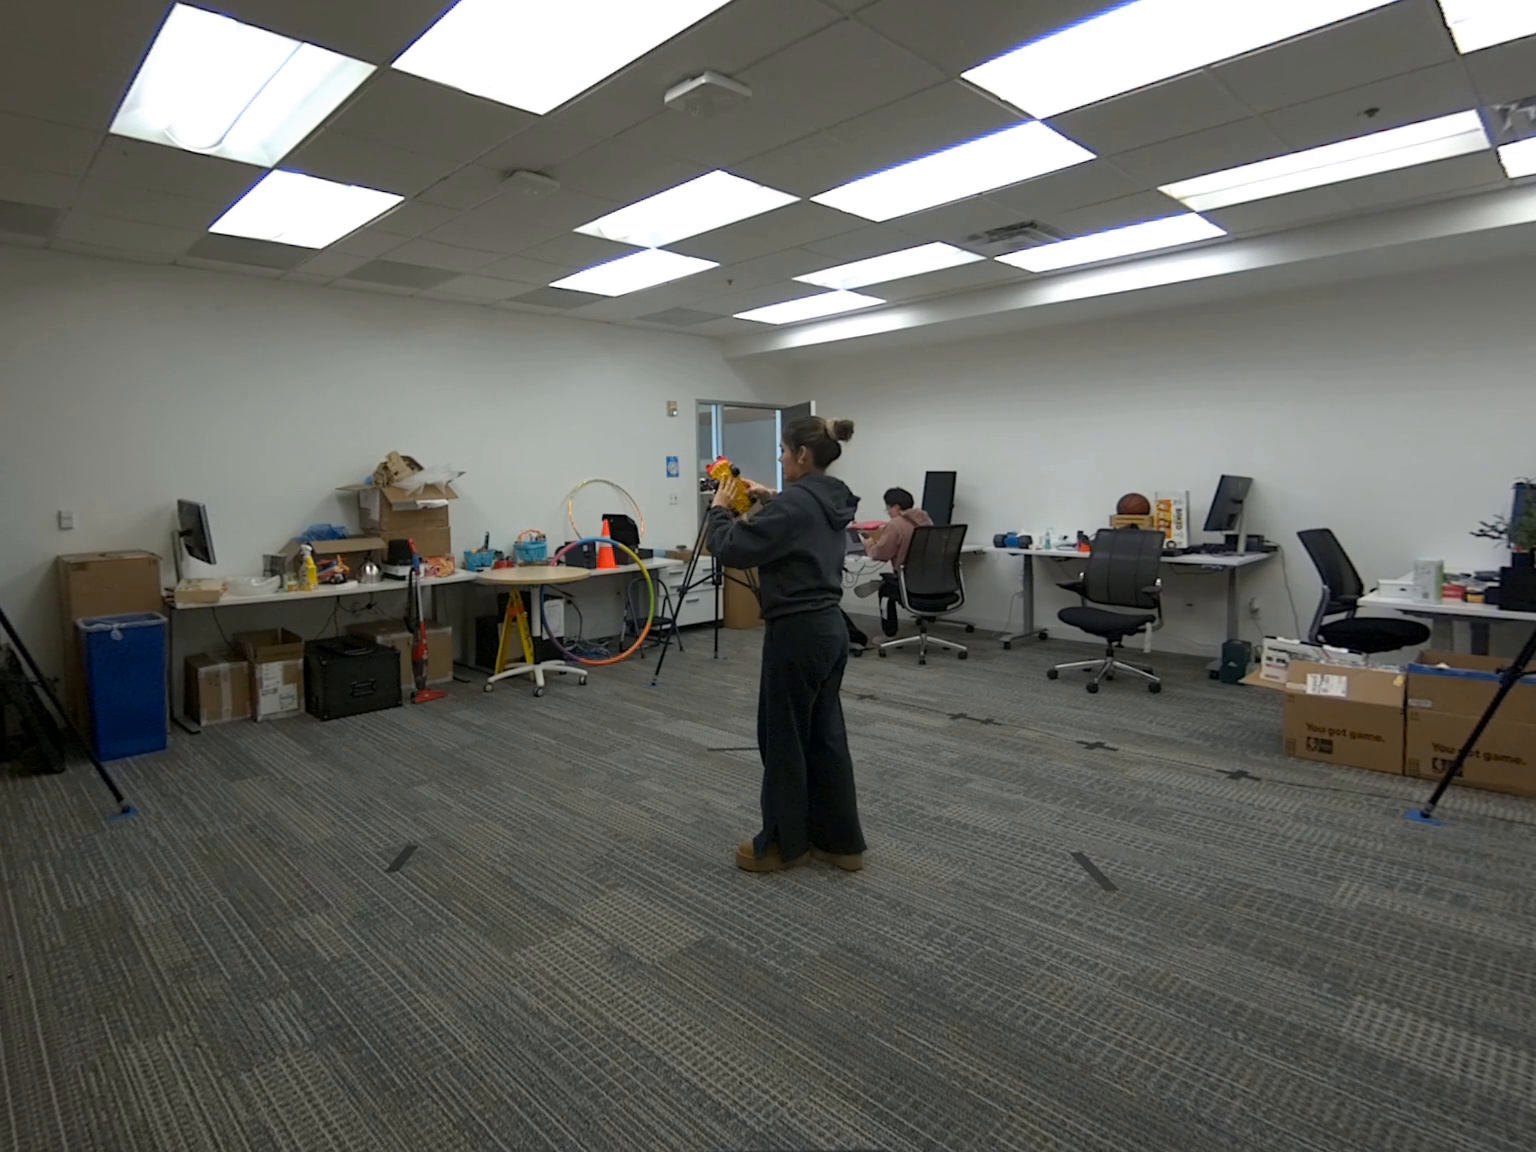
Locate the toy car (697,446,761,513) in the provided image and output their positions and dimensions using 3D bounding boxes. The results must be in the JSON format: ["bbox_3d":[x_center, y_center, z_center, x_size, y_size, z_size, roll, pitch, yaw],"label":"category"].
[{"bbox_3d":[-0.134,-0.341,3.213,0.130,0.248,0.085,-38,22,-8],"label":"toy car"}]
